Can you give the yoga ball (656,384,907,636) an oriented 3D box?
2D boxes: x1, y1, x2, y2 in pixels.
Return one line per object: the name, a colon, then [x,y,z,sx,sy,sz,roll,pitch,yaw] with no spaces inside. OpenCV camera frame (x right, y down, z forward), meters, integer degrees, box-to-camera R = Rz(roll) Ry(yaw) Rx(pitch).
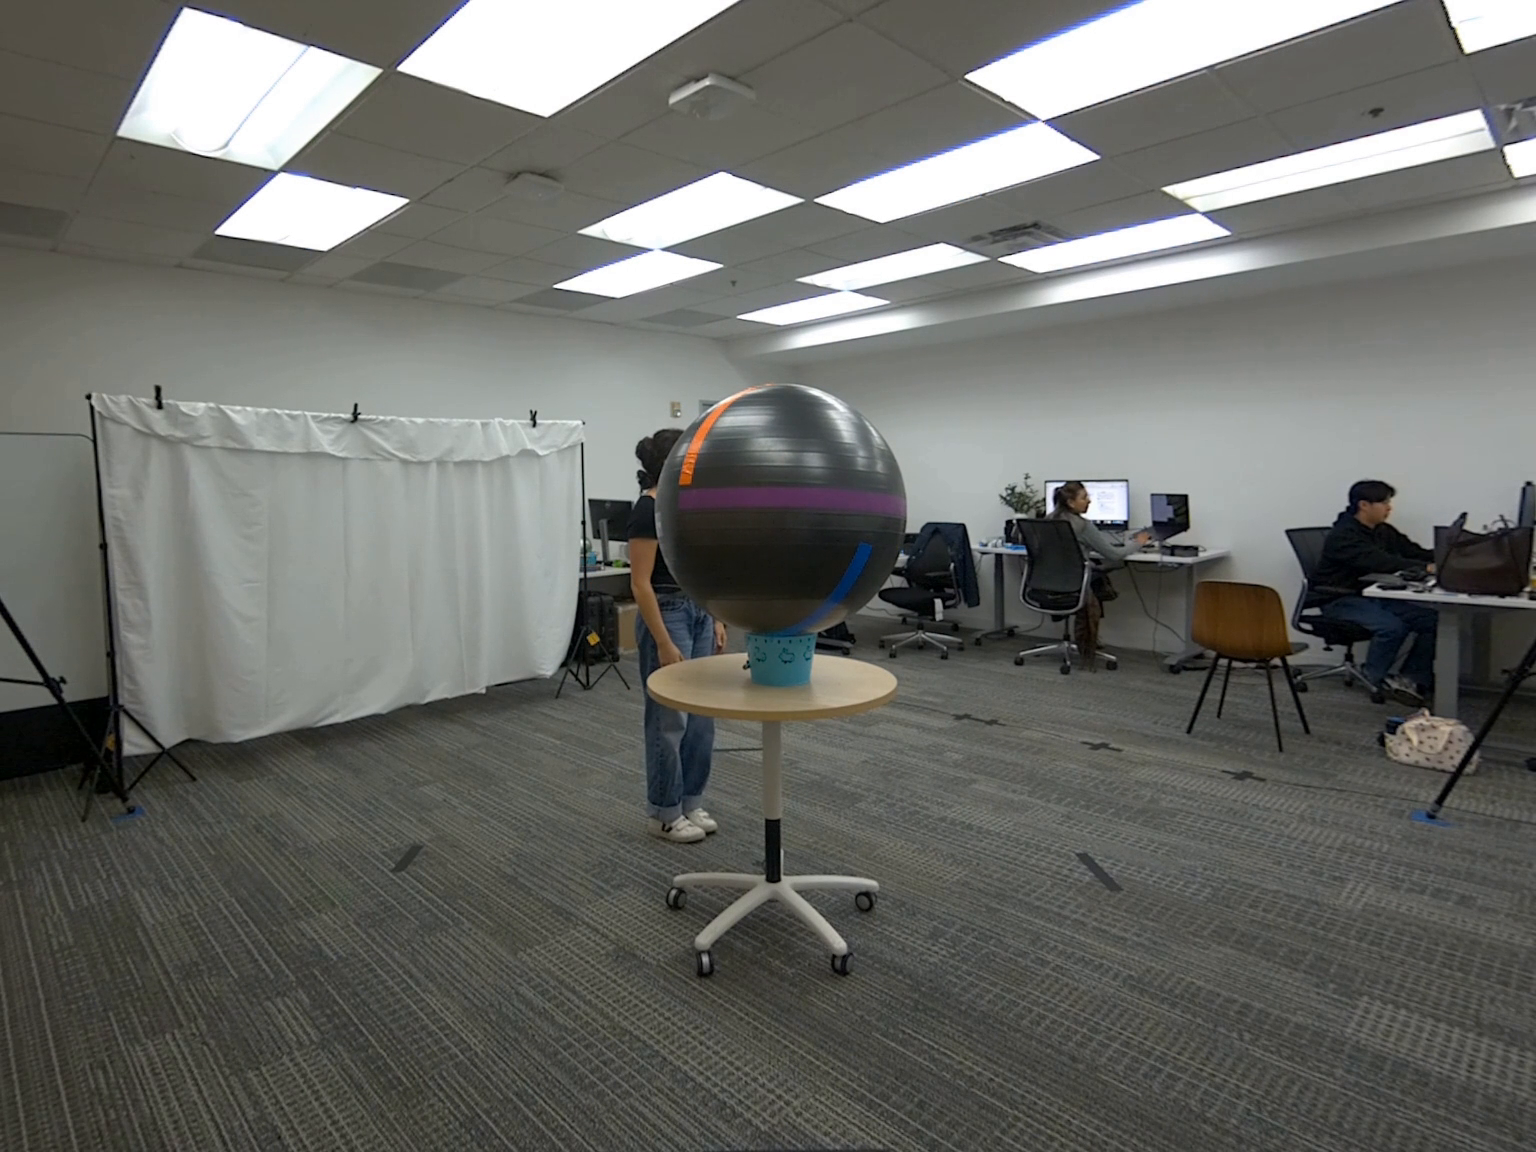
yoga ball: [0.040,-0.194,2.582,0.757,0.755,0.762,-1,5,-2]
